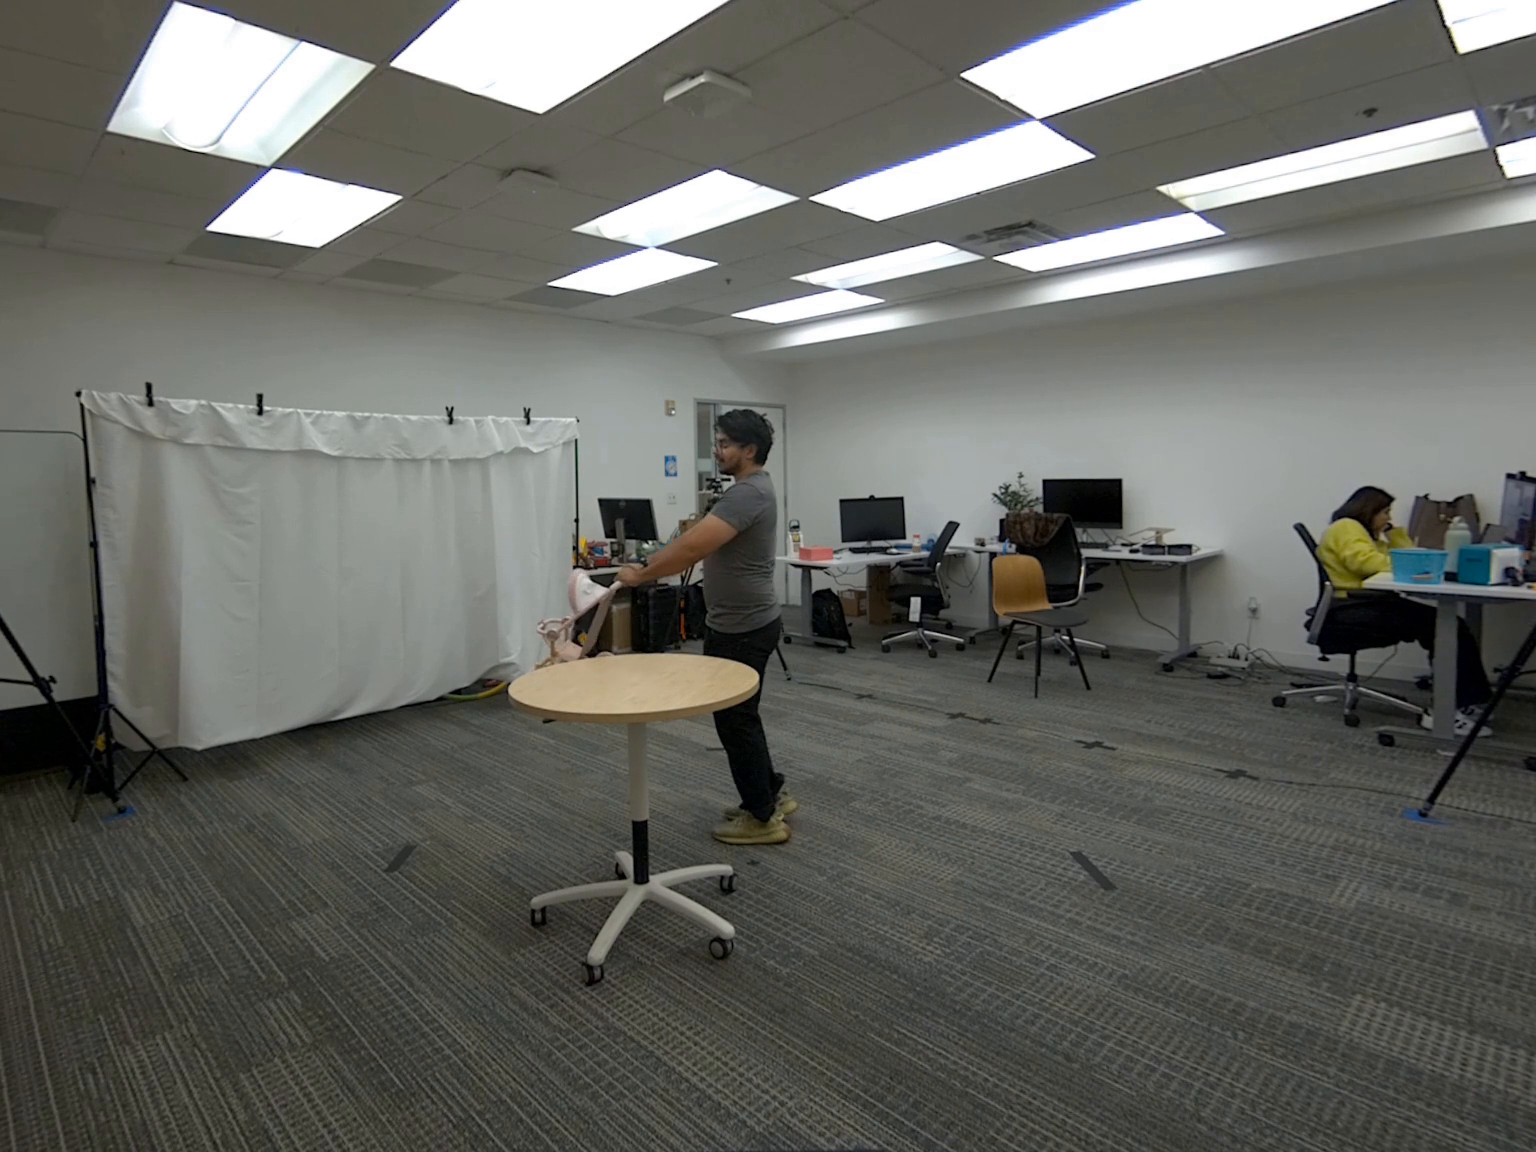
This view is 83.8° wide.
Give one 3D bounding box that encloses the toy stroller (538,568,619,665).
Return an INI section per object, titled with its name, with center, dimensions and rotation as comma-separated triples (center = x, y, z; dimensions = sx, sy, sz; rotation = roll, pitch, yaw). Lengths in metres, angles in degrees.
[toy stroller]
center = -0.739, 0.212, 3.326
dimensions = 0.345, 0.531, 0.281
rotation = 13, 10, 7
